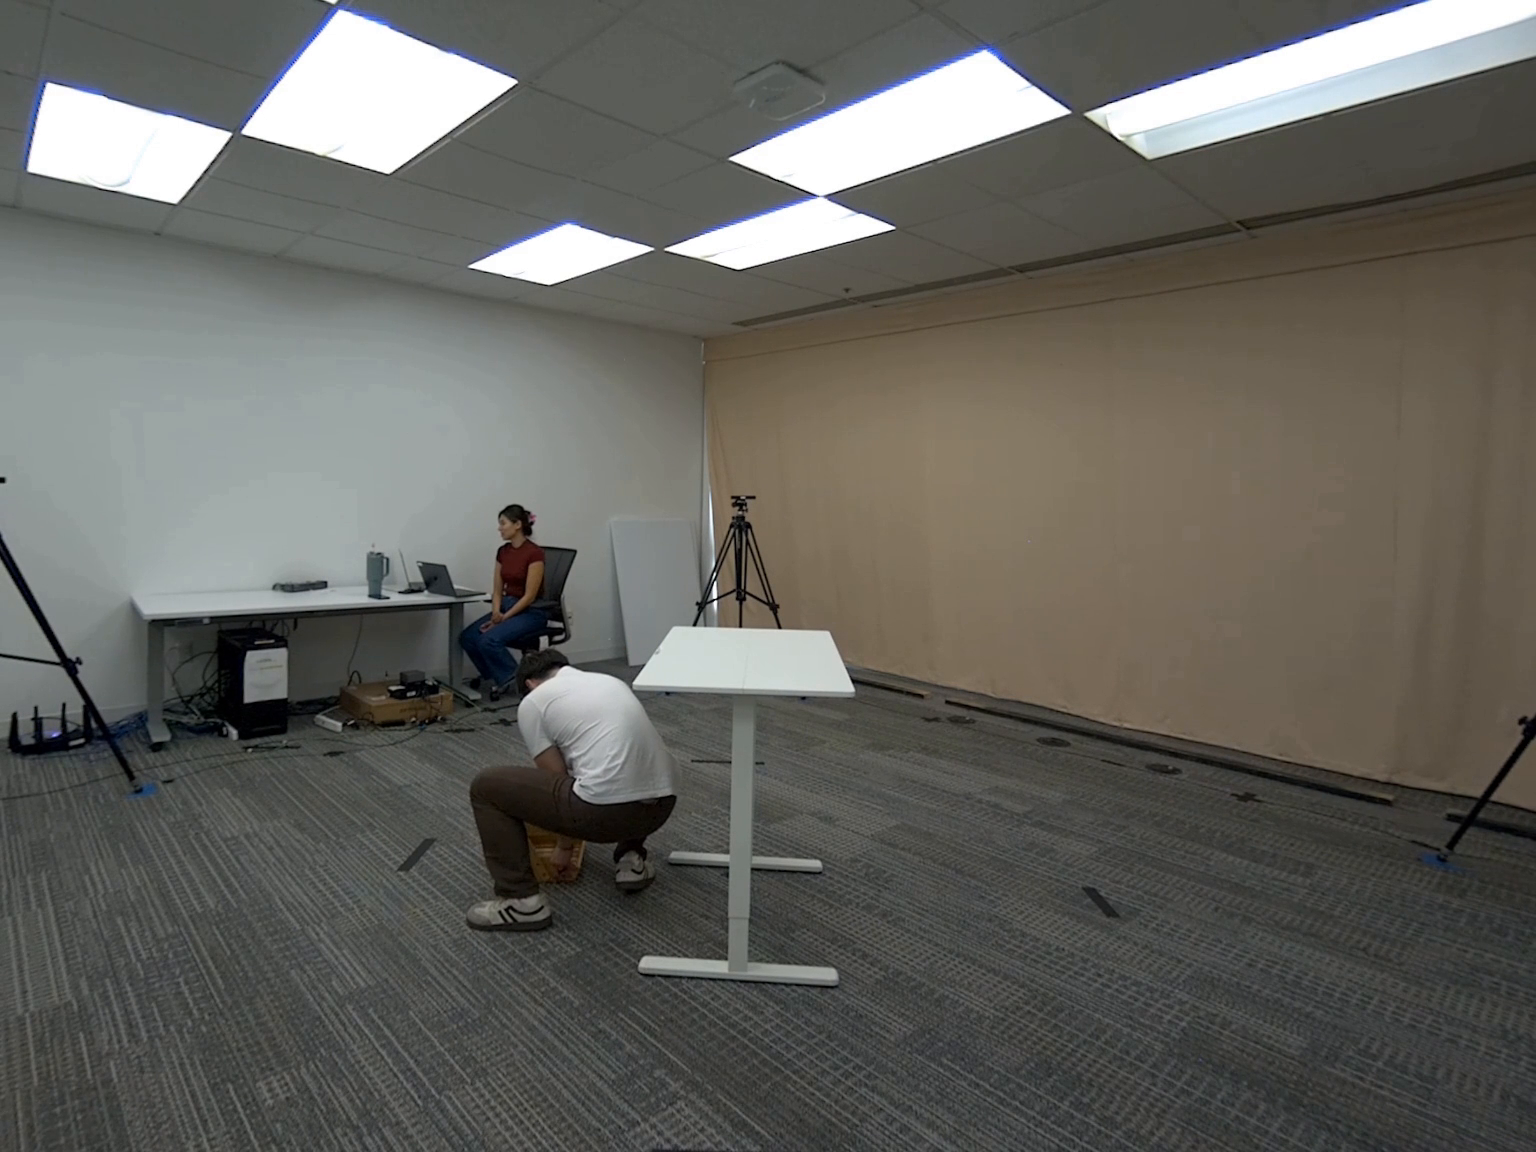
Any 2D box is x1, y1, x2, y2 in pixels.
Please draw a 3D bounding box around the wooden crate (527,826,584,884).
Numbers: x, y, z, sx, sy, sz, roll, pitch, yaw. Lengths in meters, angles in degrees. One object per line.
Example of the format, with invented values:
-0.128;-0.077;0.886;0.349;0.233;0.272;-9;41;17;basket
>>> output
-0.841;0.946;3.149;0.300;0.273;0.327;-1;4;-6;wooden crate
